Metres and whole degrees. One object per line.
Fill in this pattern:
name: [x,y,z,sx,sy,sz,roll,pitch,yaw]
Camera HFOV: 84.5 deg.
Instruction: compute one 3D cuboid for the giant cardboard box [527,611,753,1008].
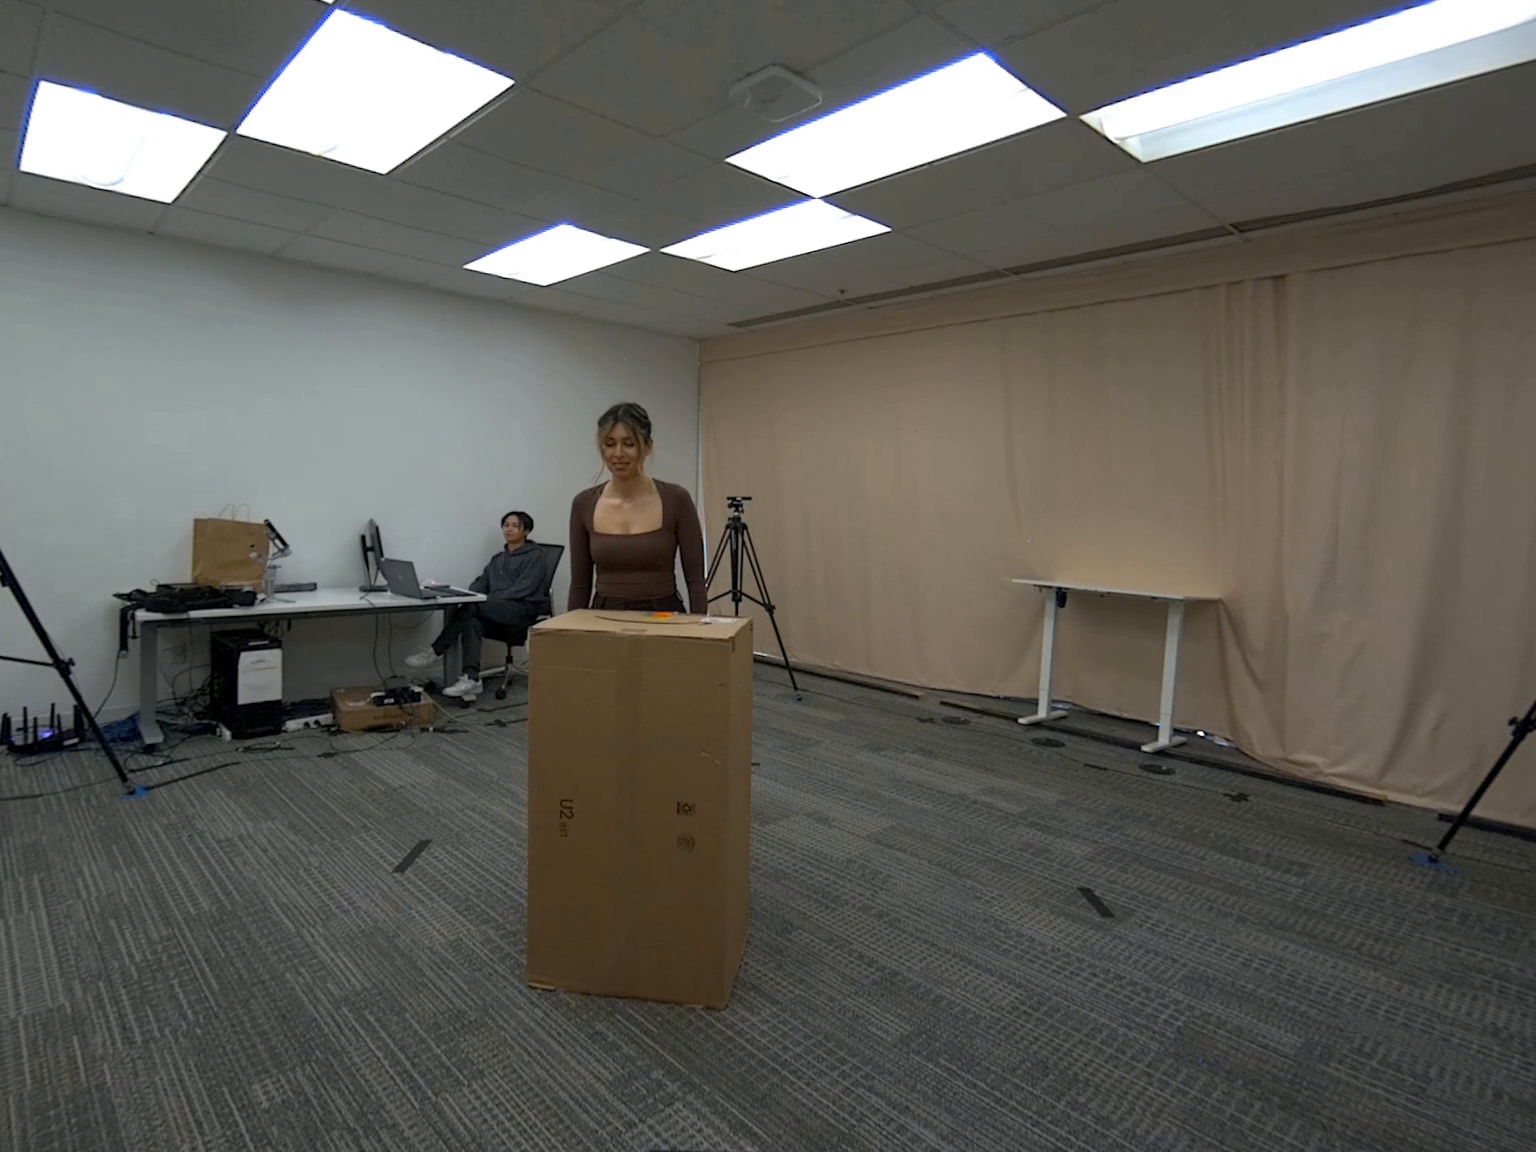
giant cardboard box: [-0.369,0.642,2.511,0.589,1.025,0.444,2,3,10]
